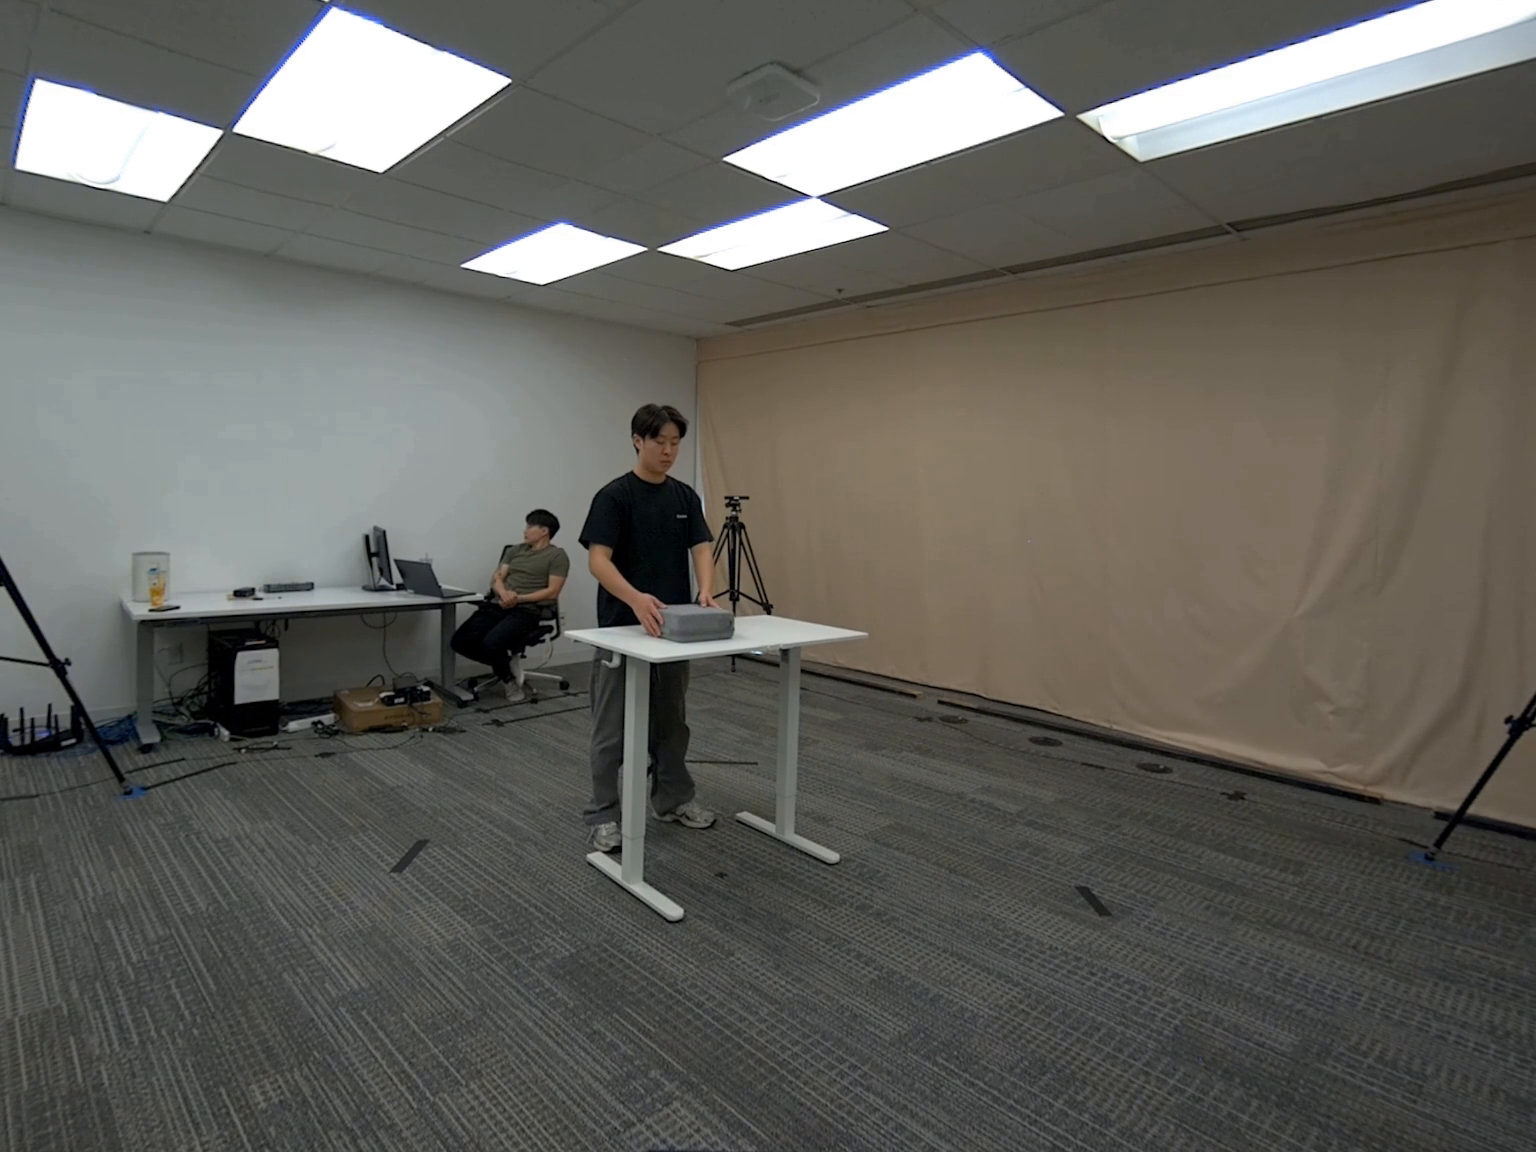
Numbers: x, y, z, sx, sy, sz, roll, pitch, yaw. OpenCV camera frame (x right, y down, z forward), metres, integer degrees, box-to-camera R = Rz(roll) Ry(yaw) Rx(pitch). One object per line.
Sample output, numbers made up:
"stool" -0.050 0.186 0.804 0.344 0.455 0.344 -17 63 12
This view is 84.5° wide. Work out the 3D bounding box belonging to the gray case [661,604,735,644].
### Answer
"gray case" -0.281 0.173 3.057 0.281 0.103 0.270 -2 6 -36
